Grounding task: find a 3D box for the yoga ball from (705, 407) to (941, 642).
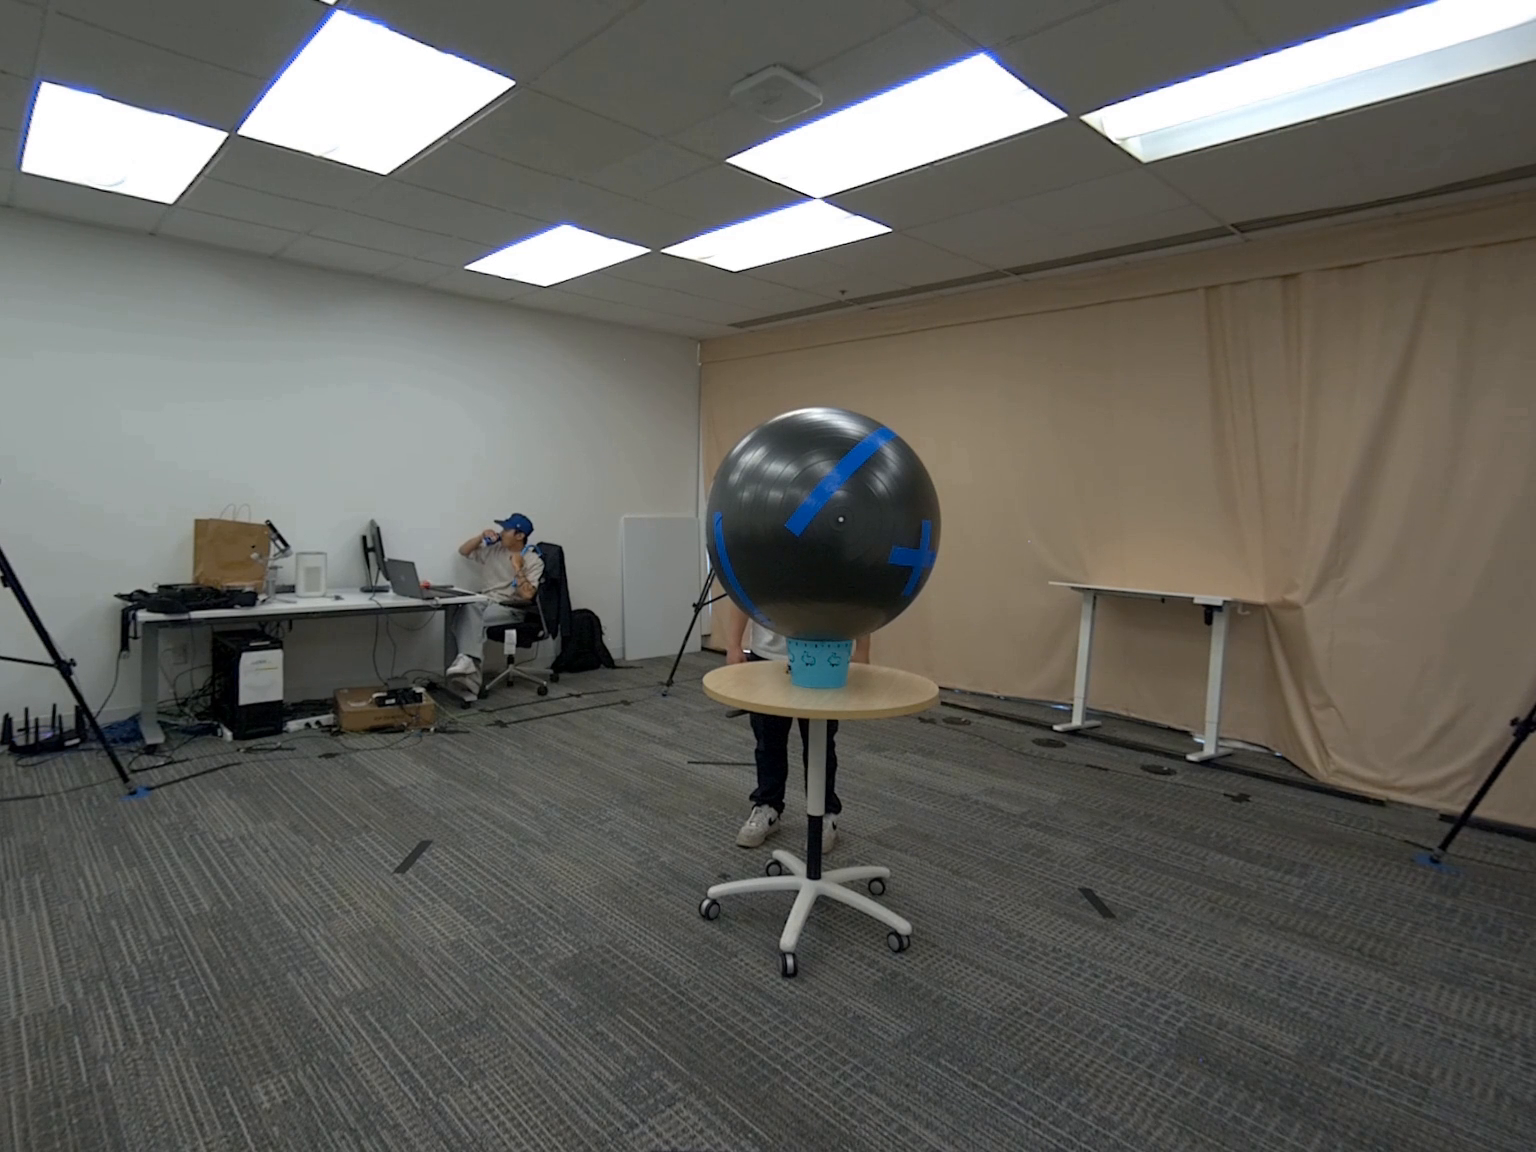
[{"bbox_3d":[0.168,-0.160,2.731,0.757,0.756,0.760,1,4,-1],"label":"yoga ball"}]
